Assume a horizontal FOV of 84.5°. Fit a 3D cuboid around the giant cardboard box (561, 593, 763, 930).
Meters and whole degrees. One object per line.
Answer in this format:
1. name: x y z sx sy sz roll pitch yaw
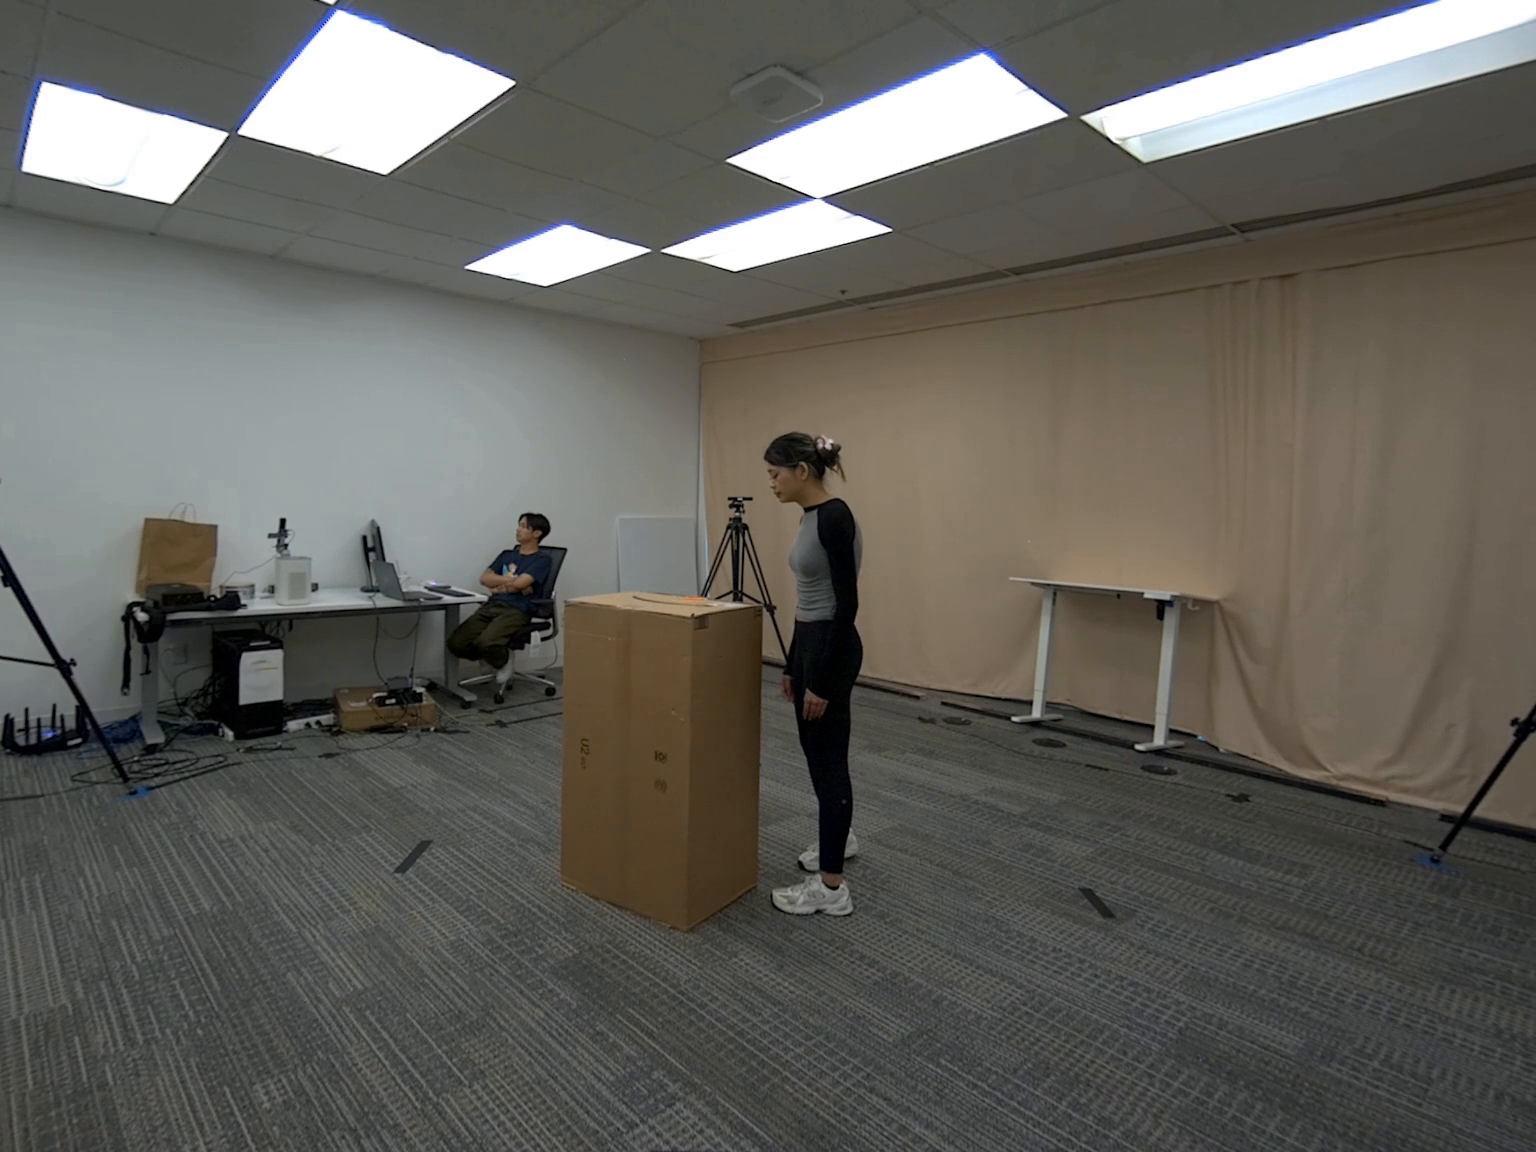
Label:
1. giant cardboard box: -0.386 0.602 2.998 0.591 1.023 0.417 4 4 34
